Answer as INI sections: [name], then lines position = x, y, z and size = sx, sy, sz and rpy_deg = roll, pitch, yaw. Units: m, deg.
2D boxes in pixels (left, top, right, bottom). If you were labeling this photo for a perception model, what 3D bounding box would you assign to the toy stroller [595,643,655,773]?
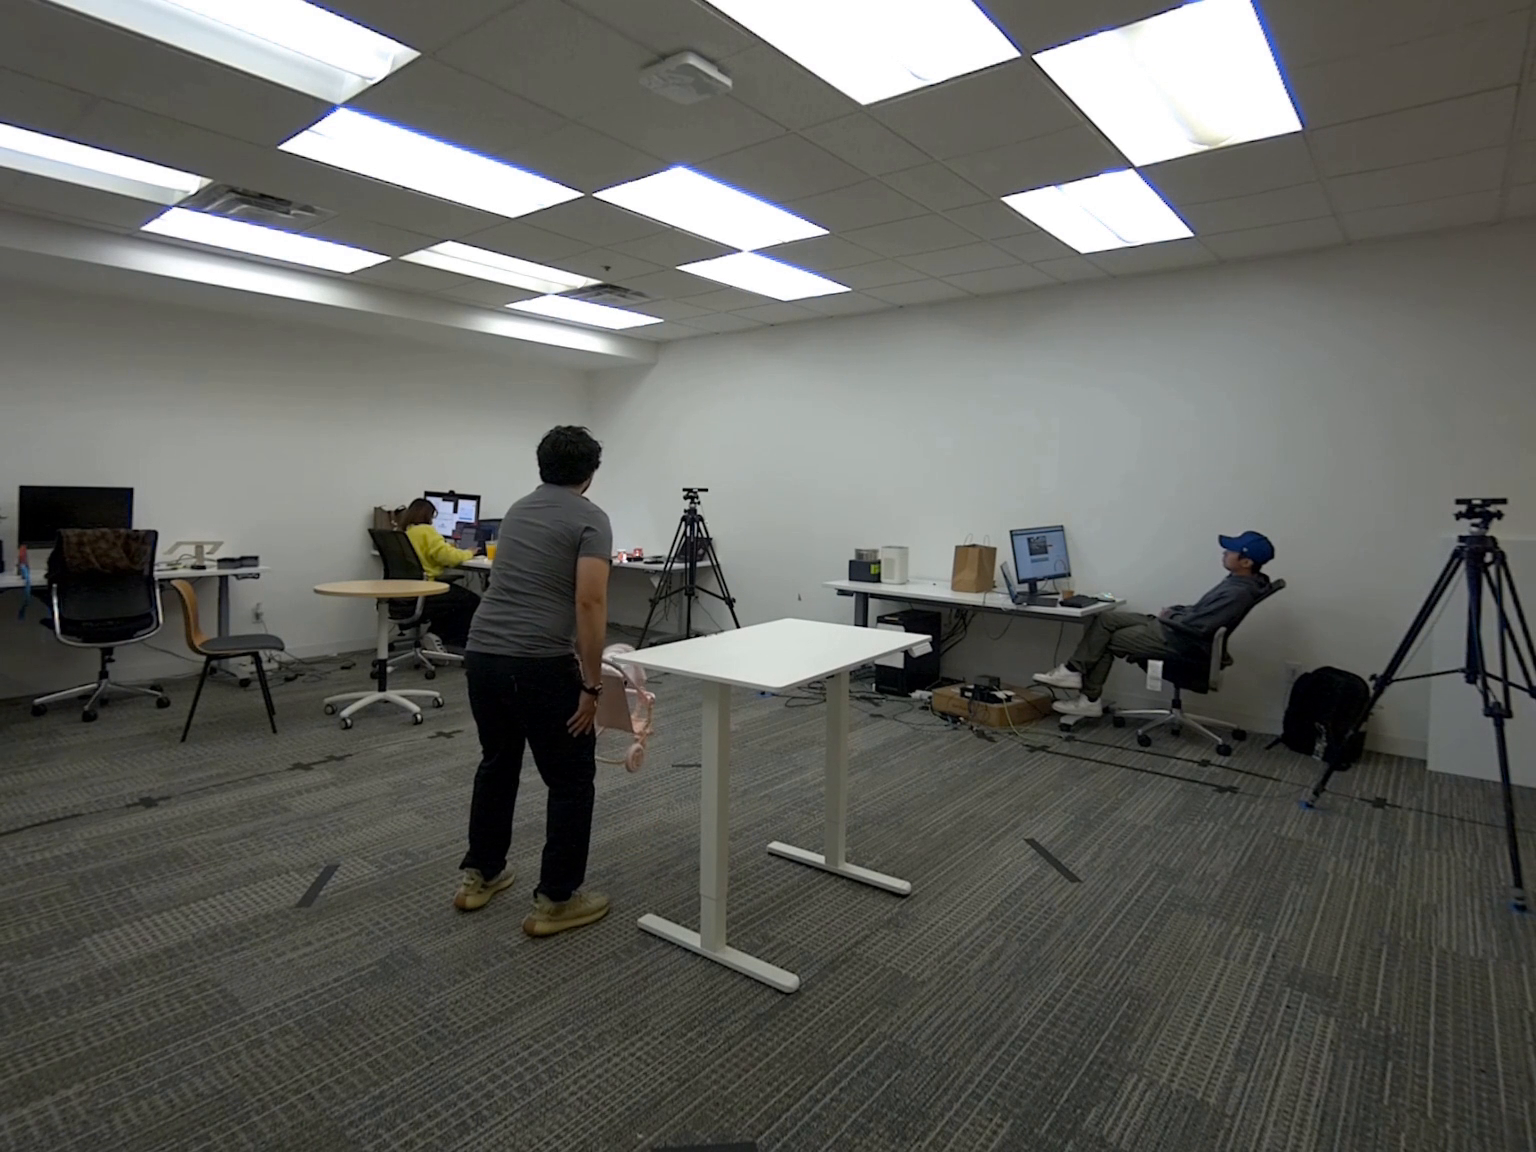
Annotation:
[toy stroller]
position = -0.597, 0.508, 3.355
size = 0.290, 0.527, 0.336
rpy_deg = 5, 16, 28
